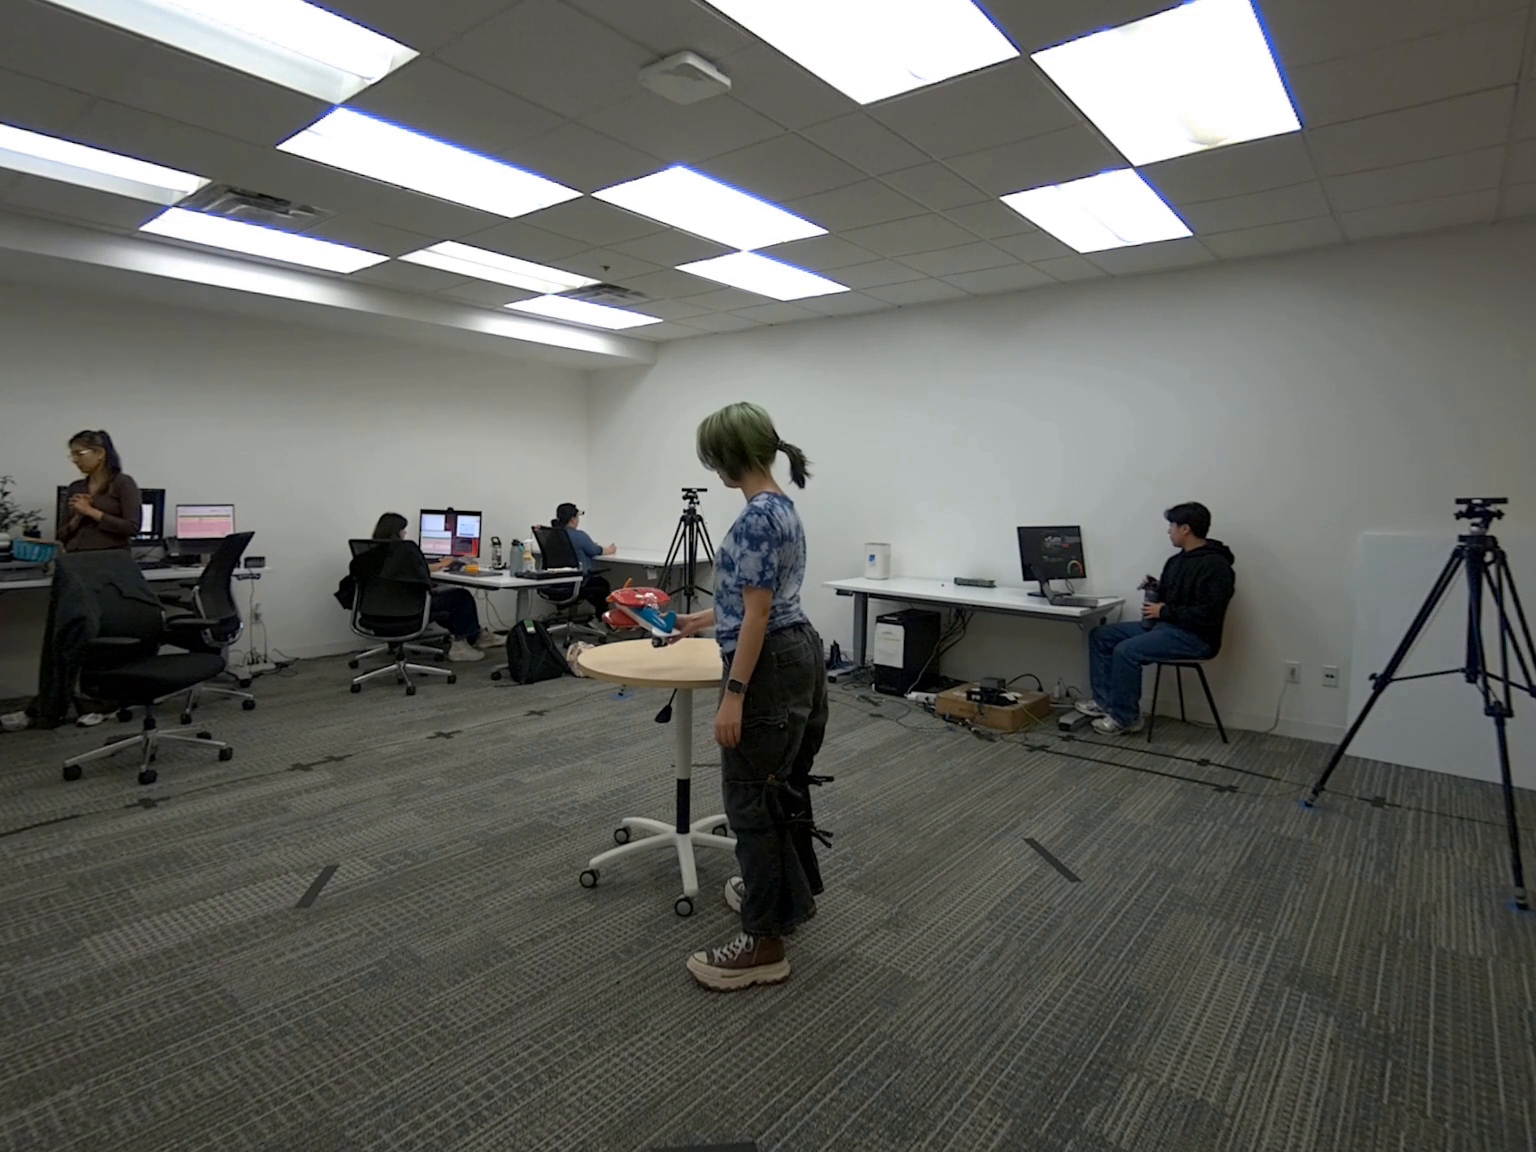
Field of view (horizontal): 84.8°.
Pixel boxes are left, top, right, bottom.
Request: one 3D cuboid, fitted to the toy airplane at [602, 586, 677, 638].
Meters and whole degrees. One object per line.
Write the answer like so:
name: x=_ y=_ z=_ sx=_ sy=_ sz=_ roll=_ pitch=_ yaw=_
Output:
toy airplane: x=-0.413 y=0.132 z=2.851 sx=0.261 sy=0.155 sz=0.250 roll=12 pitch=8 yaw=6
